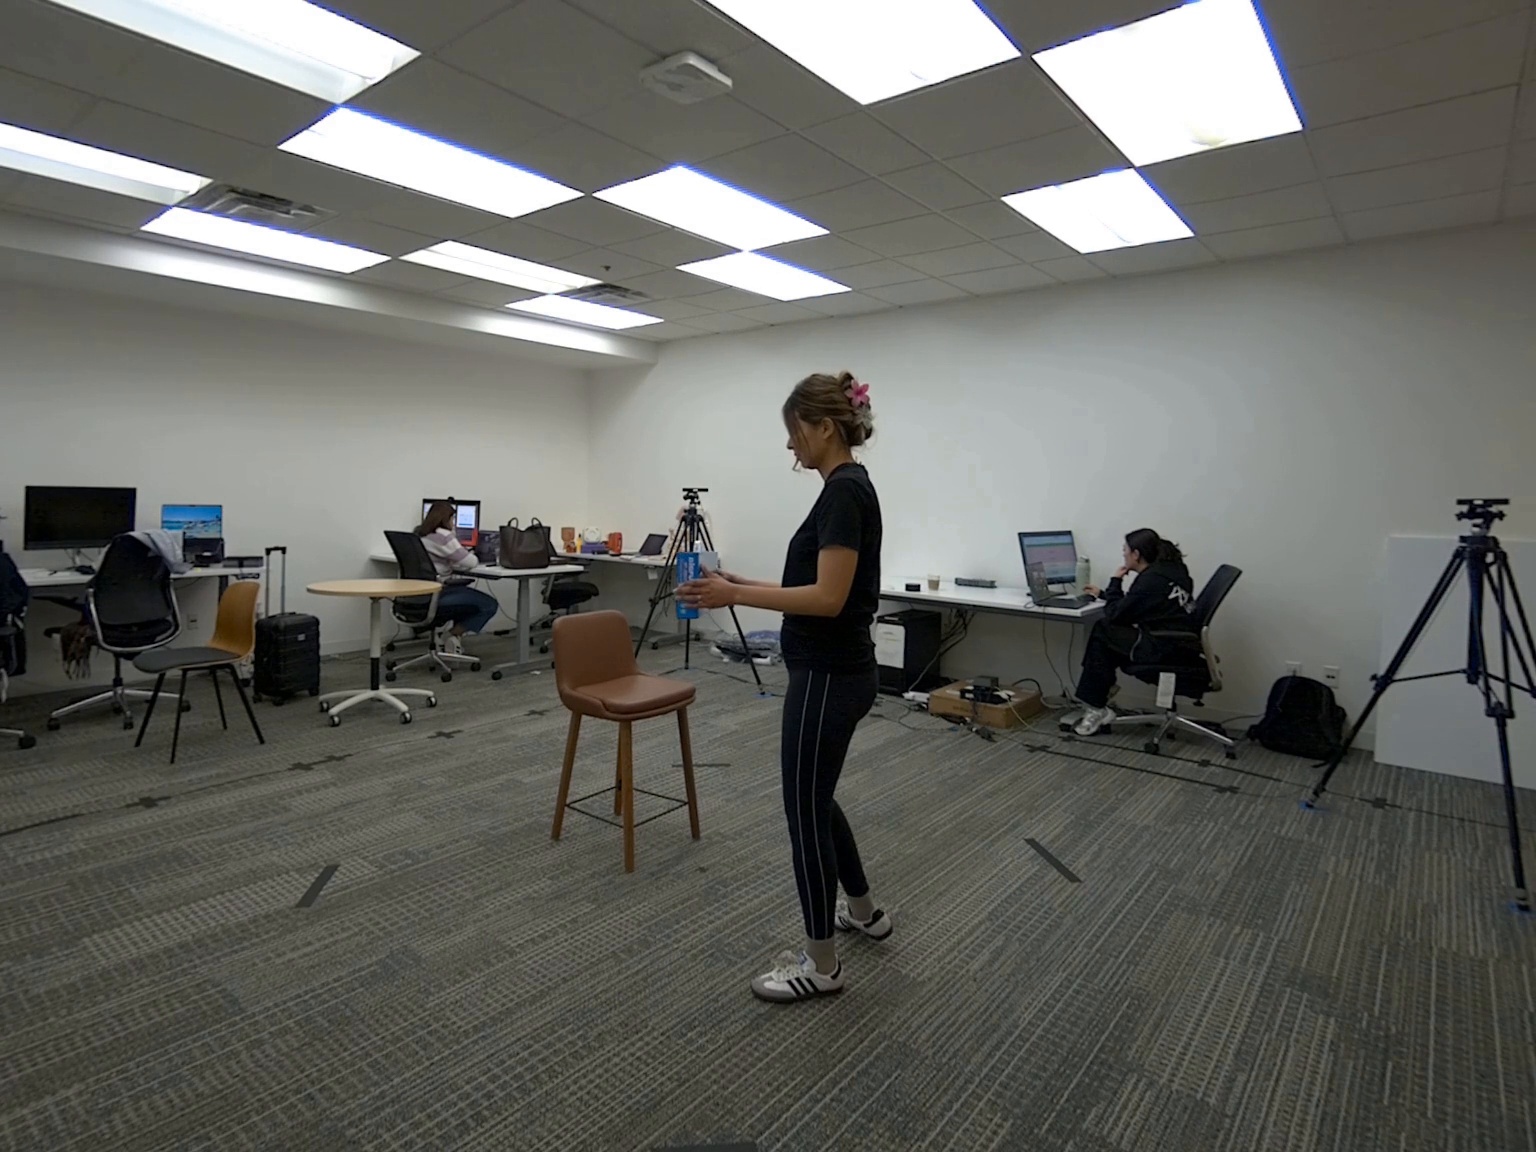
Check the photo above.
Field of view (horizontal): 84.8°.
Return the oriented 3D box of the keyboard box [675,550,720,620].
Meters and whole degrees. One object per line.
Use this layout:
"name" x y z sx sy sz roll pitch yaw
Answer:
"keyboard box" -0.209 0.012 2.416 0.059 0.176 0.435 2 2 2
